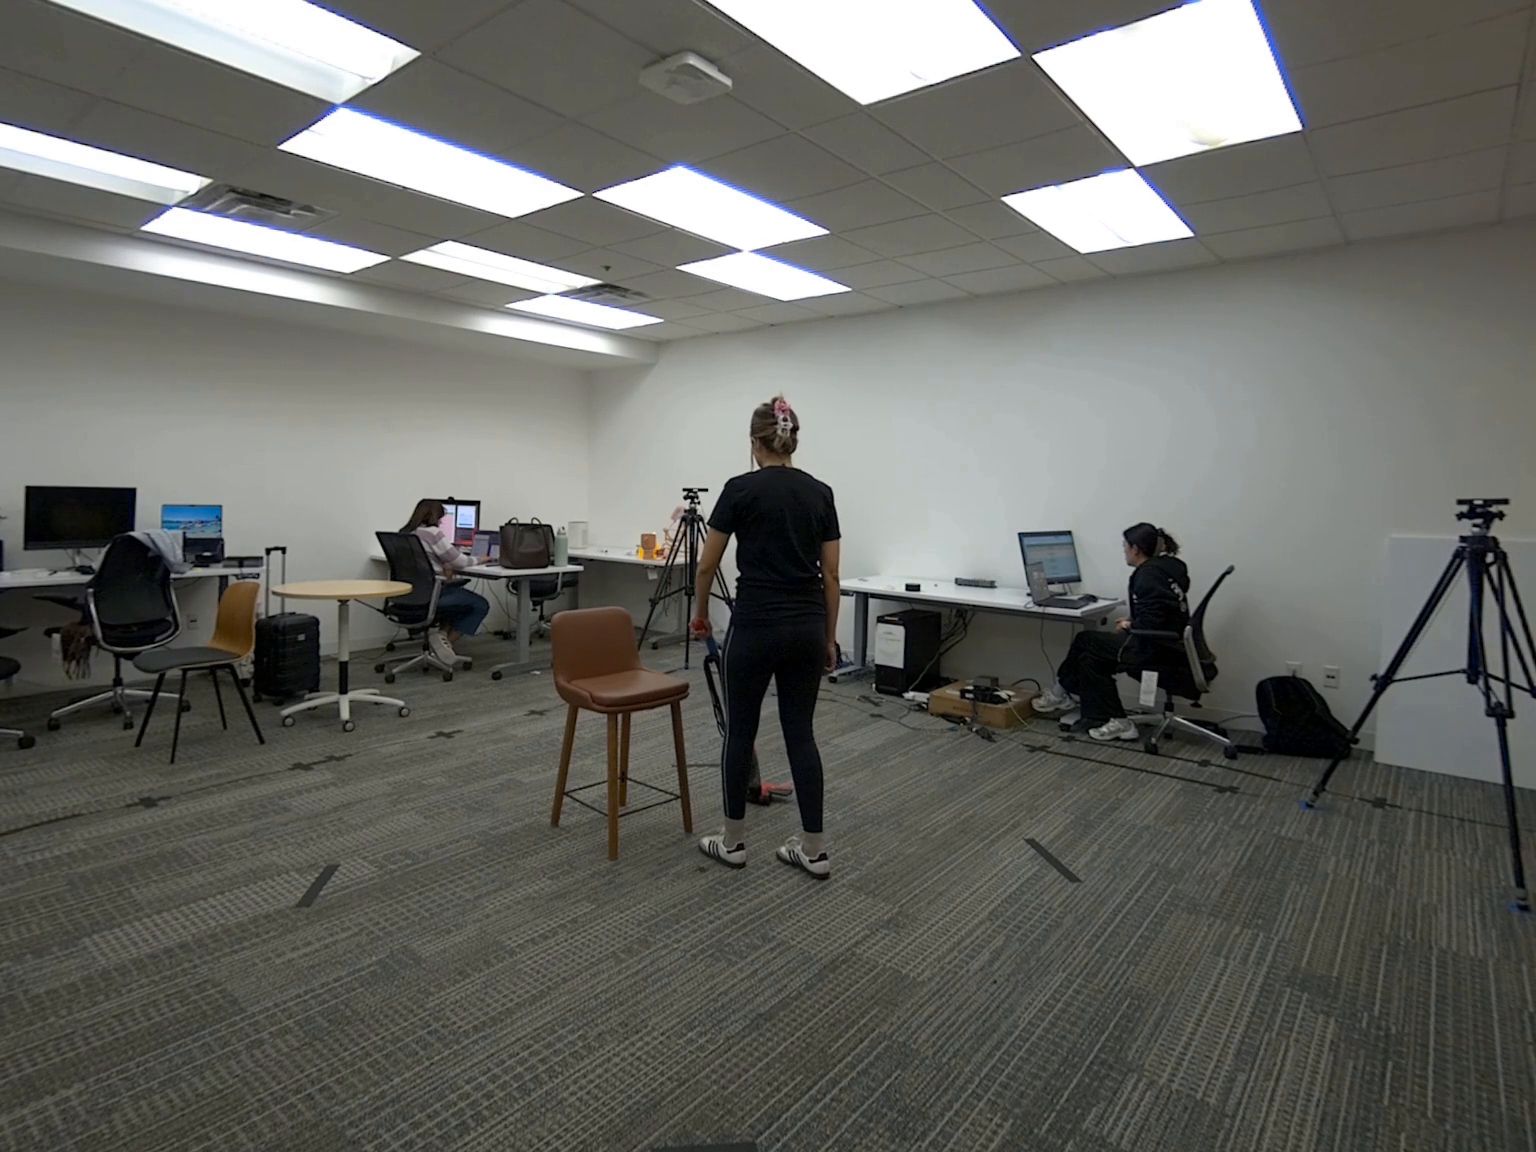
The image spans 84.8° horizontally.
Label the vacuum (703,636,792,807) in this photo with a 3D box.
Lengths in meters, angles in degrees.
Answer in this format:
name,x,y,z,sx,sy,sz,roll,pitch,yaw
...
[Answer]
name,x,y,z,sx,sy,sz,roll,pitch,yaw
vacuum,-0.169,0.591,3.547,0.260,1.013,0.145,5,41,29
